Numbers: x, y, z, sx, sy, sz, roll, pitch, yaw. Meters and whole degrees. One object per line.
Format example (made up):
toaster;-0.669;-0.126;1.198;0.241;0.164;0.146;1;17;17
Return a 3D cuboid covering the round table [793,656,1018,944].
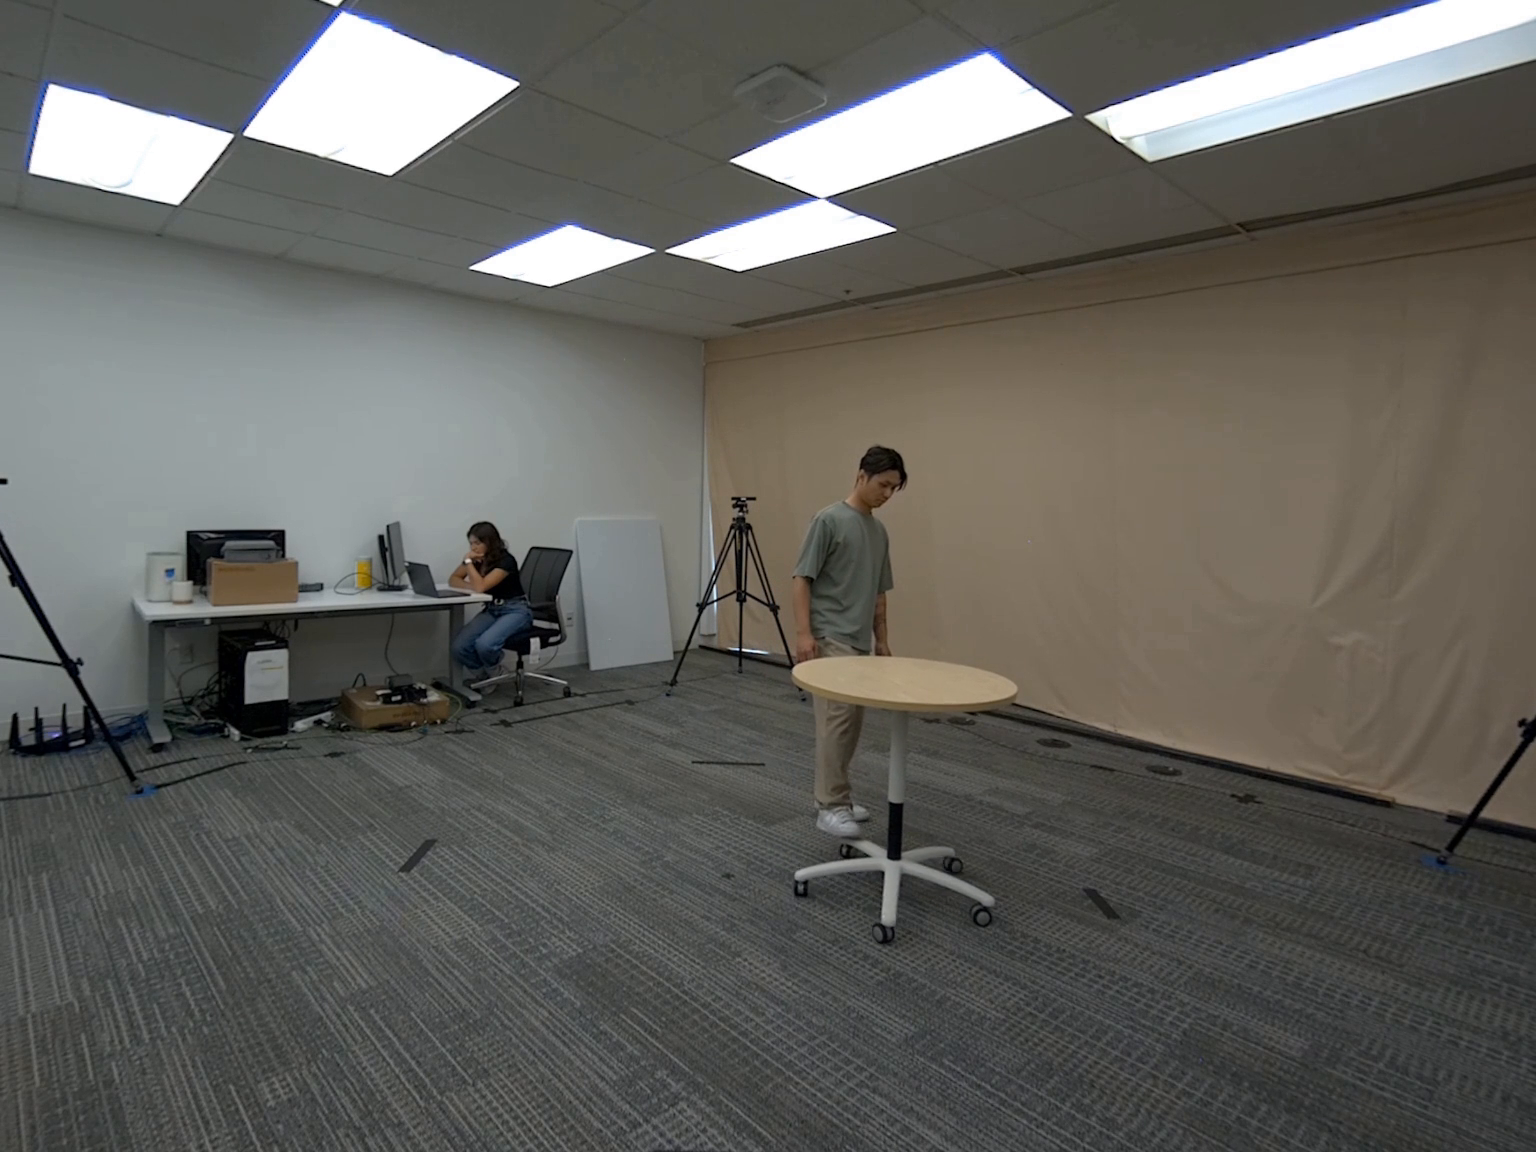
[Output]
round table;0.455;0.742;2.954;0.784;0.784;0.788;2;4;-2
